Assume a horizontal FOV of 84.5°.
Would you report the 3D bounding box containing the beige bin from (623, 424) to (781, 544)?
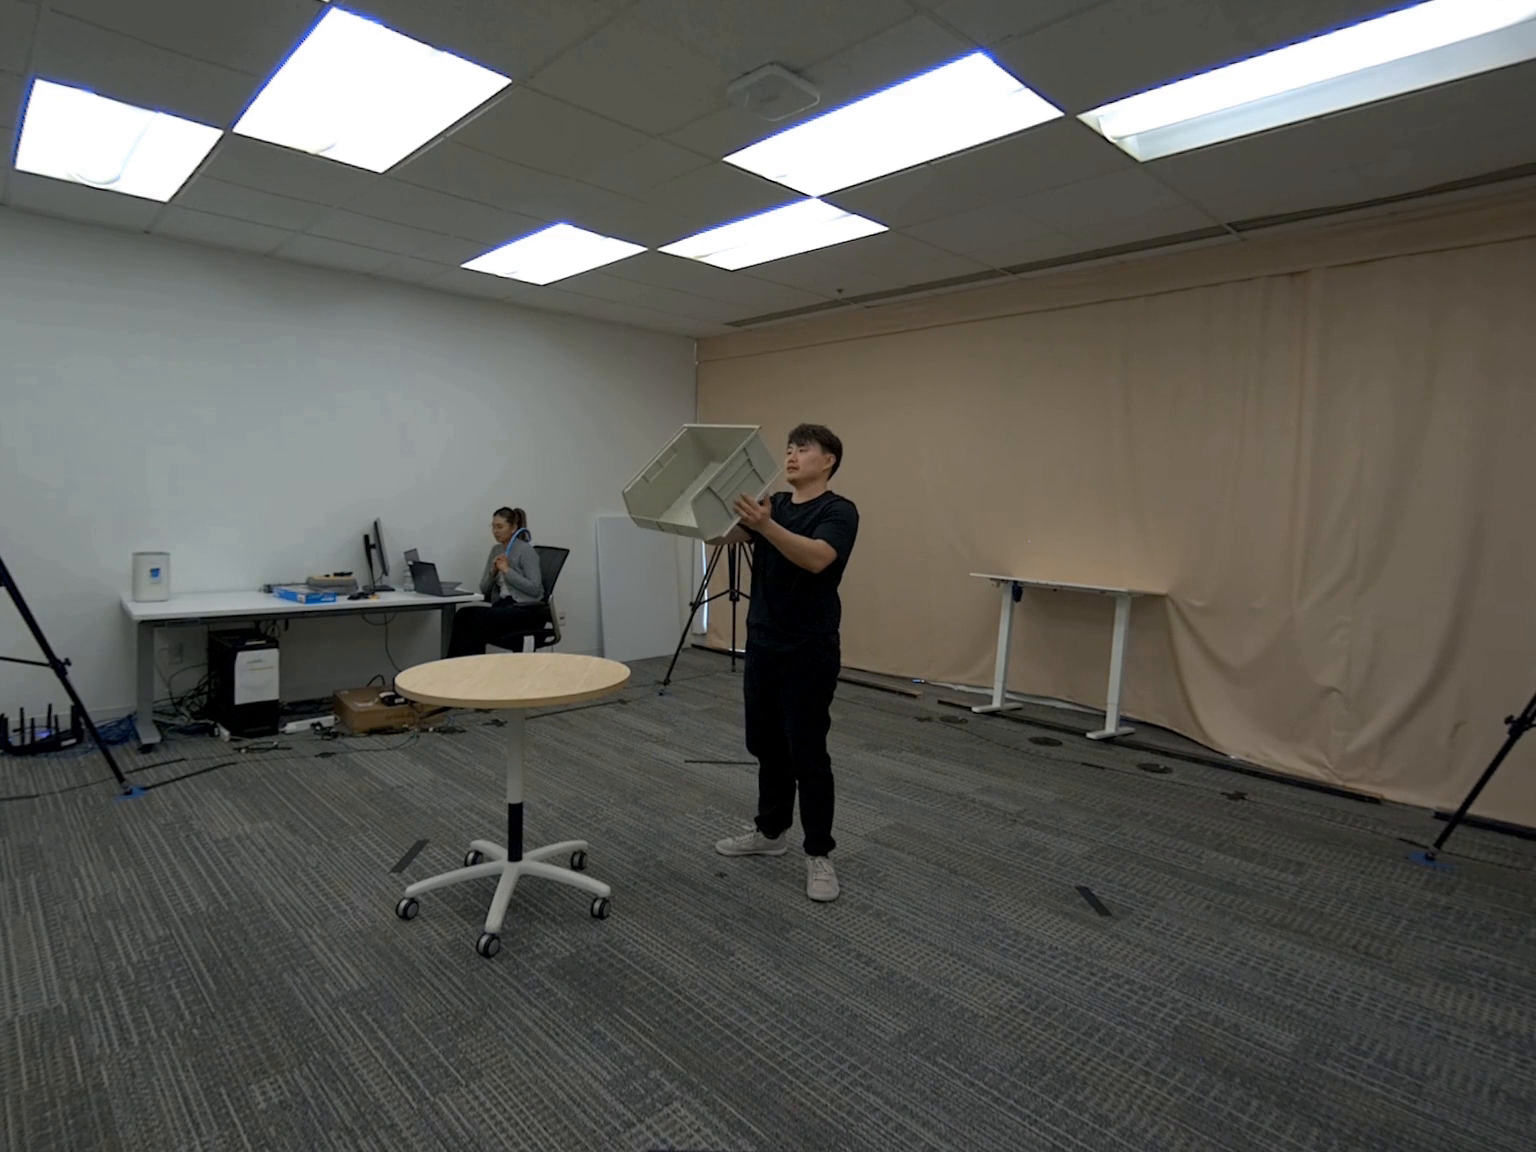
[{"bbox_3d":[-0.229,-0.300,2.772,0.434,0.377,0.184,13,-34,51],"label":"beige bin"}]
